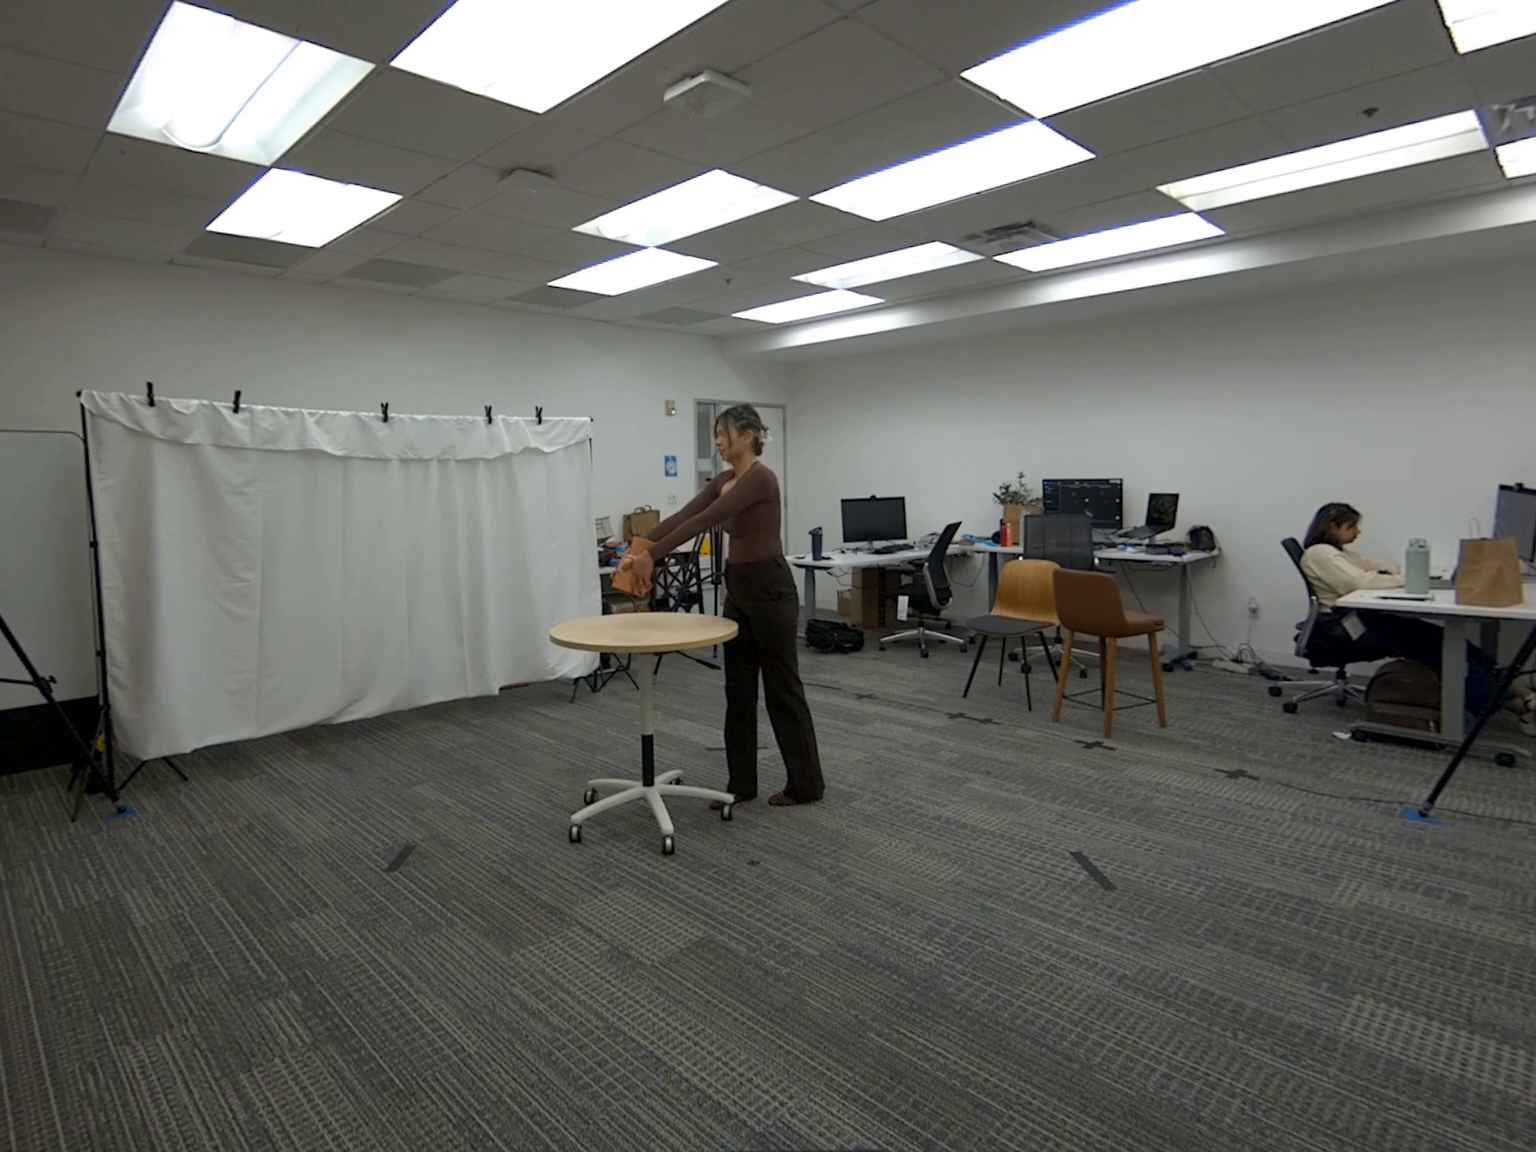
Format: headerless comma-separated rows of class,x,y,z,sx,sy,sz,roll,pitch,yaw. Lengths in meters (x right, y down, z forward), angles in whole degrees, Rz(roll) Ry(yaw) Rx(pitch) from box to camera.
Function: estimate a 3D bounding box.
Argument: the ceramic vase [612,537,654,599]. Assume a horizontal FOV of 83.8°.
ceramic vase,-0.534,-0.040,3.451,0.137,0.220,0.155,16,-6,13
